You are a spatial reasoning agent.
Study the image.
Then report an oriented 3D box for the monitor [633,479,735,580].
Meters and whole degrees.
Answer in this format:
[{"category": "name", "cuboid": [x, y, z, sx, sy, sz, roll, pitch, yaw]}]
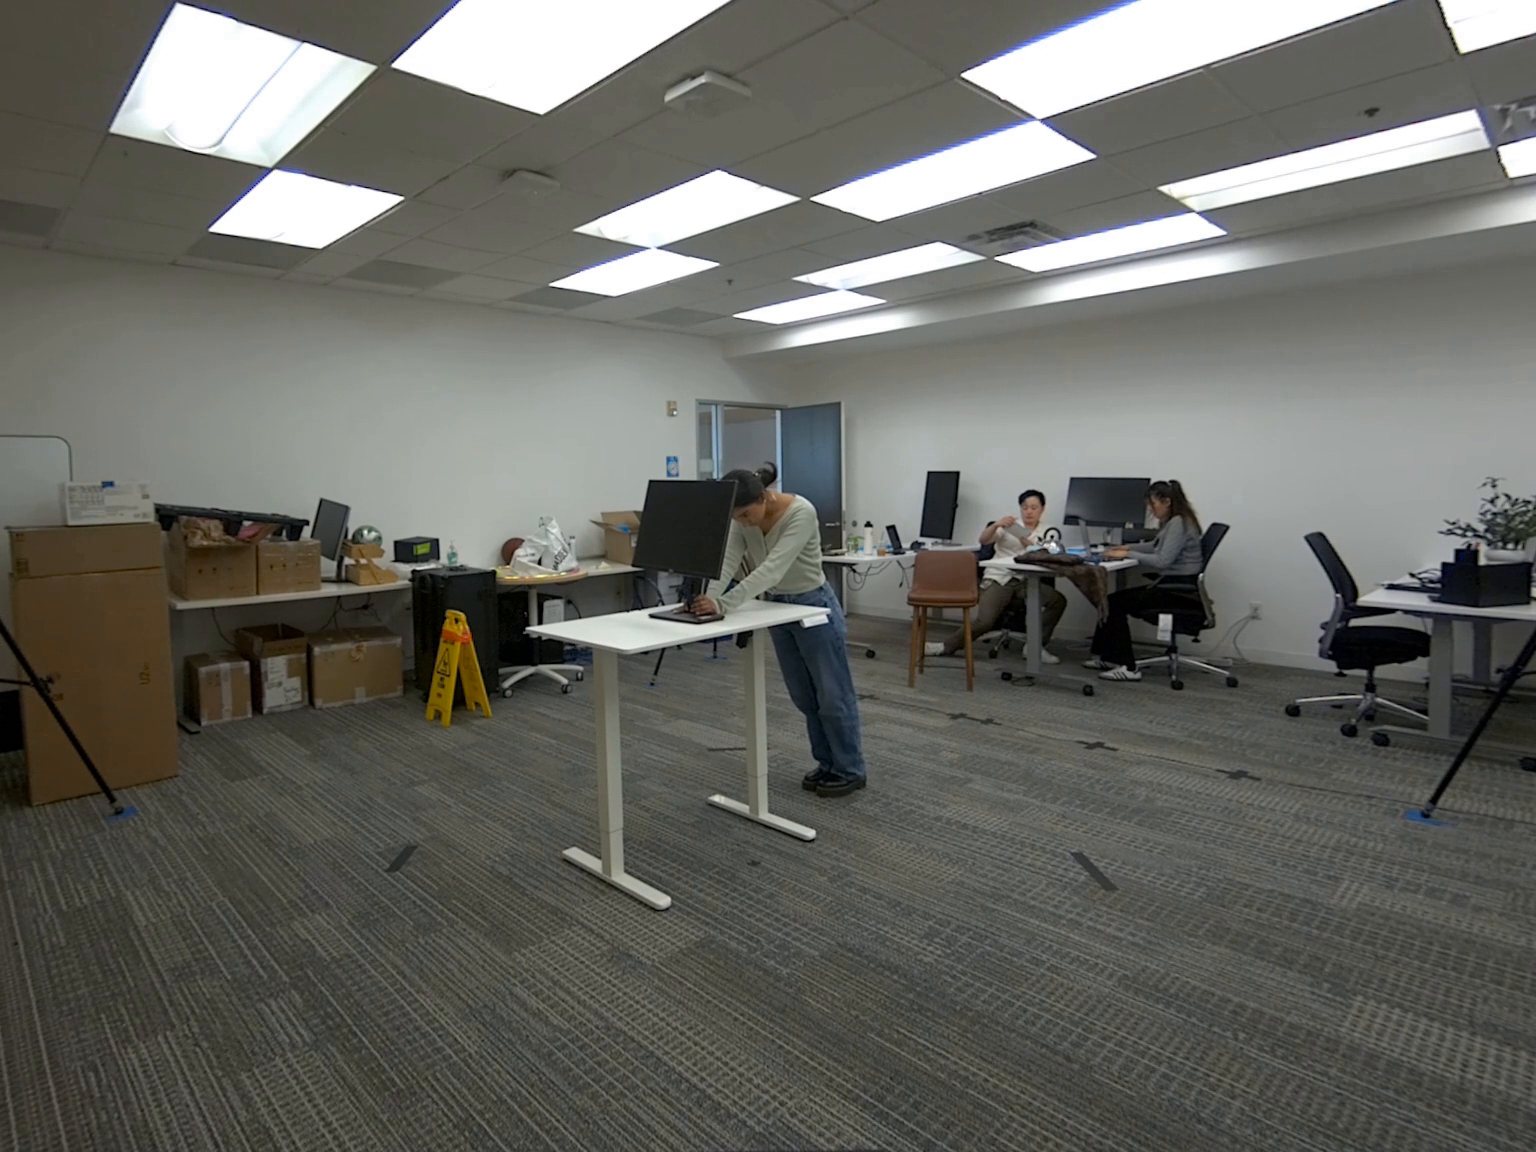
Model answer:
[{"category": "monitor", "cuboid": [-0.294, -0.096, 3.186, 0.182, 0.521, 0.556, -3, 6, -43]}]
